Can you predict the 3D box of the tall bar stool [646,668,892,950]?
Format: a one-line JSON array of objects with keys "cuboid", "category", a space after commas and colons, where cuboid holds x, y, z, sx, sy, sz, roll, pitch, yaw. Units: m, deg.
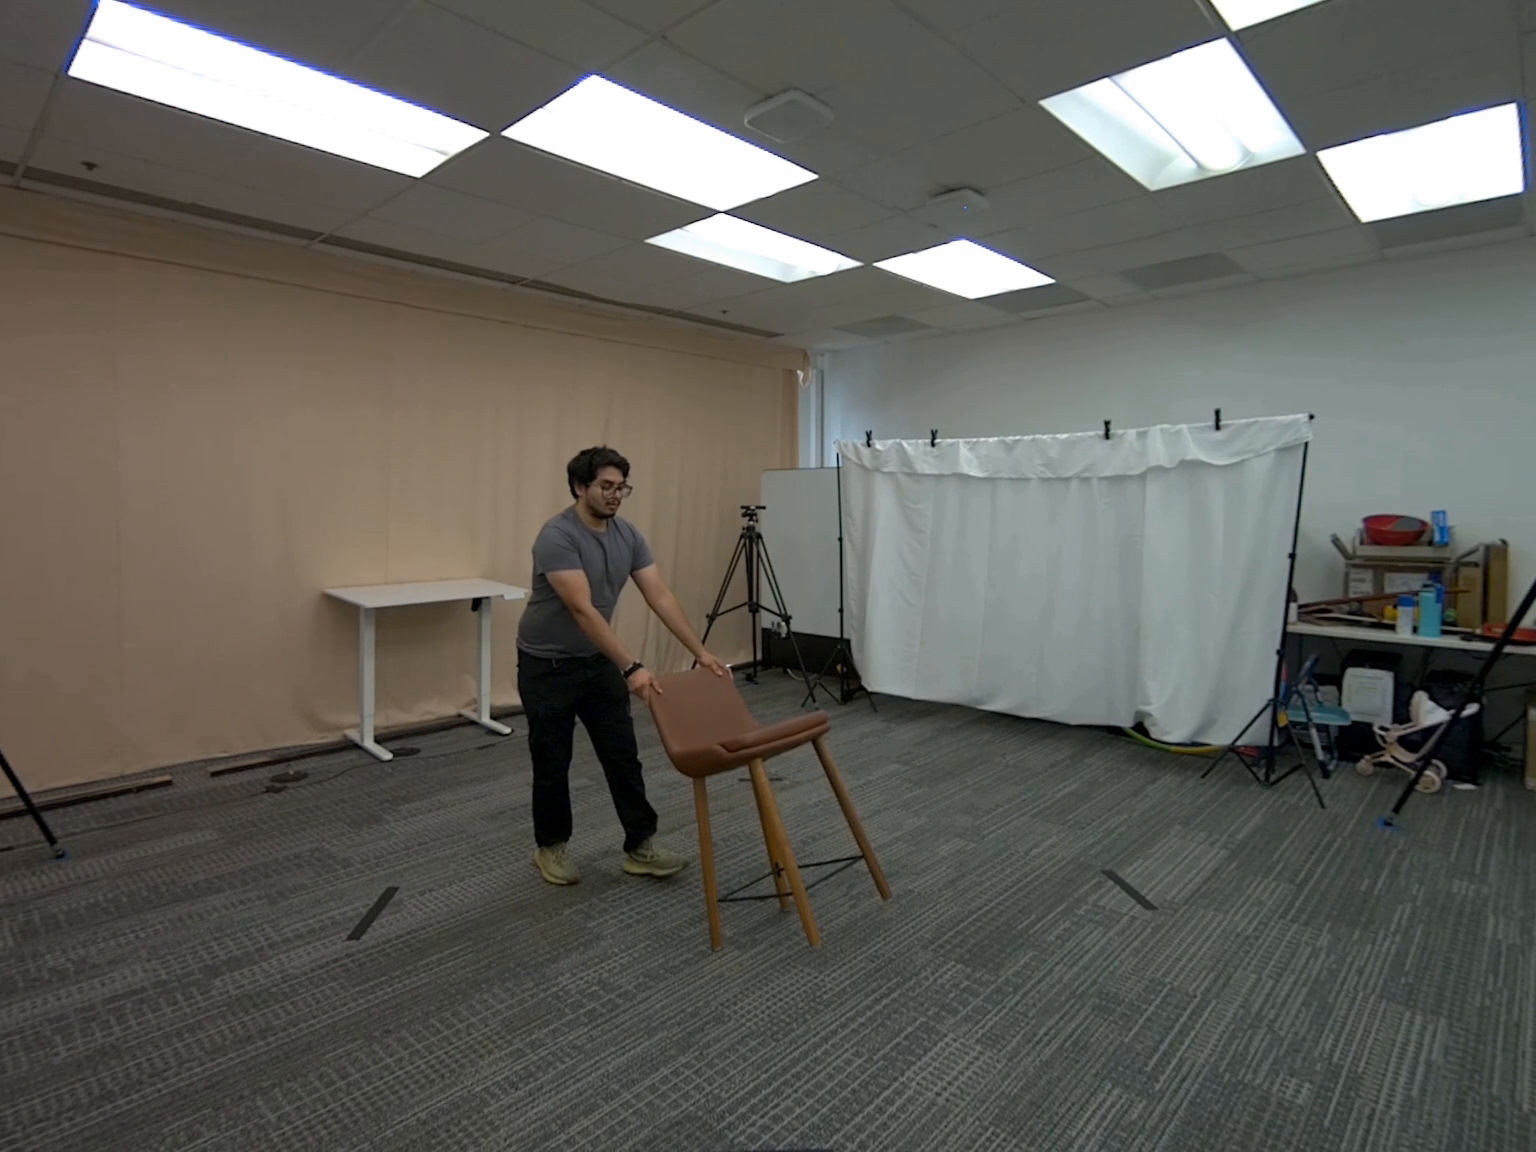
[{"cuboid": [-0.025, 0.682, 2.727, 0.476, 0.900, 0.442, -28, -16, 39], "category": "tall bar stool"}]
